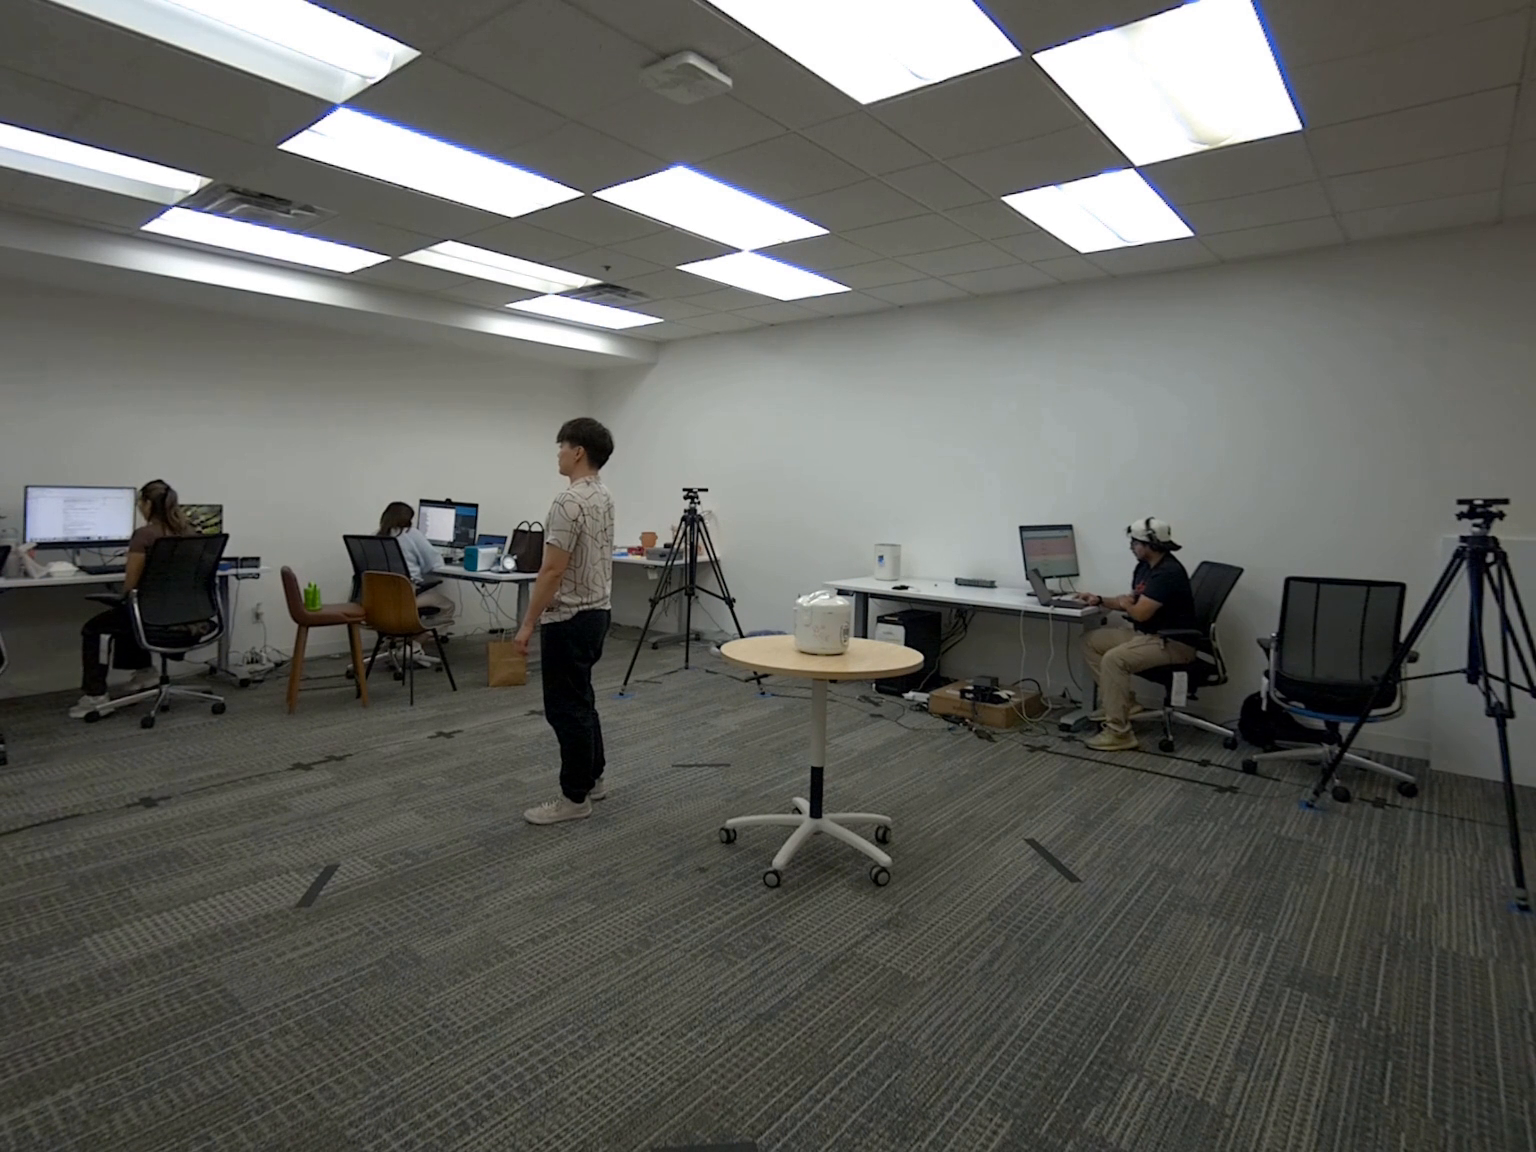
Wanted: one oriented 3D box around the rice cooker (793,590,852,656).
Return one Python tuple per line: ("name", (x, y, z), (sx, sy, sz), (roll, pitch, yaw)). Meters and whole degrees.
("rice cooker", (0.199, 0.167, 3.230), (0.225, 0.232, 0.214), (3, 4, 41))
